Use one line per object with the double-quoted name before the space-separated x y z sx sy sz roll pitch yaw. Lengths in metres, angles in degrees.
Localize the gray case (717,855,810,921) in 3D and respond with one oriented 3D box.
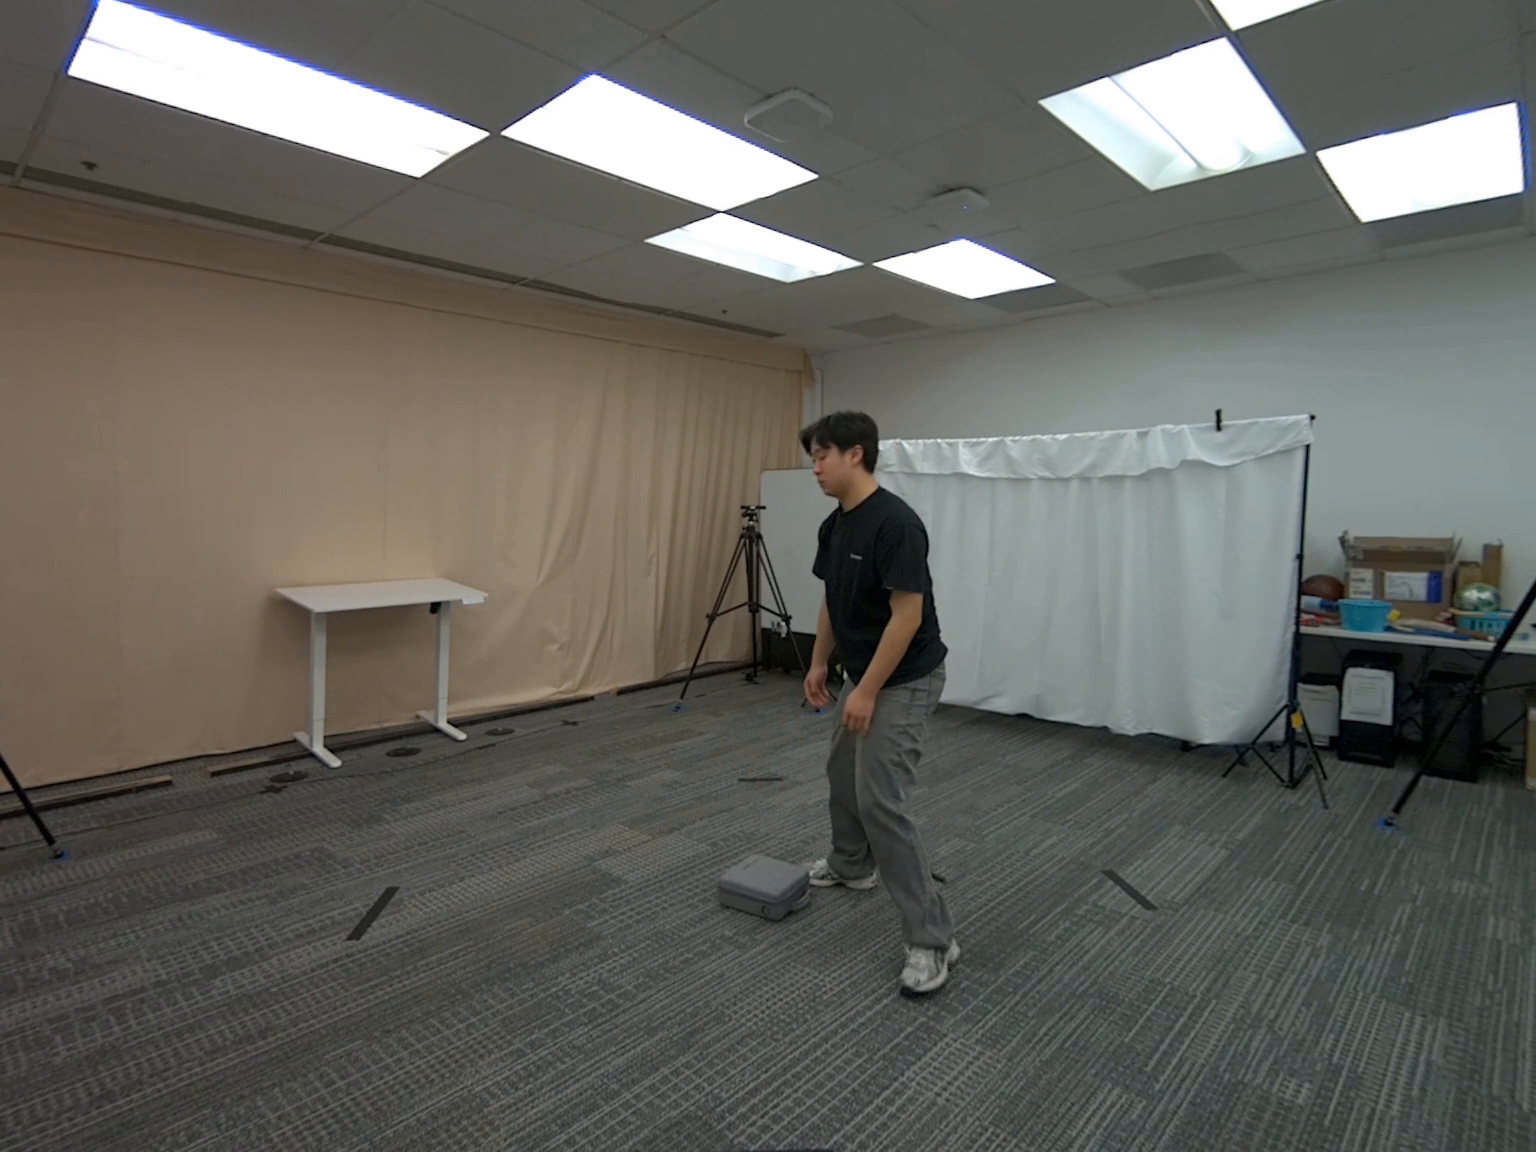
"gray case" 0.000 1.092 2.961 0.296 0.103 0.256 4 7 32
